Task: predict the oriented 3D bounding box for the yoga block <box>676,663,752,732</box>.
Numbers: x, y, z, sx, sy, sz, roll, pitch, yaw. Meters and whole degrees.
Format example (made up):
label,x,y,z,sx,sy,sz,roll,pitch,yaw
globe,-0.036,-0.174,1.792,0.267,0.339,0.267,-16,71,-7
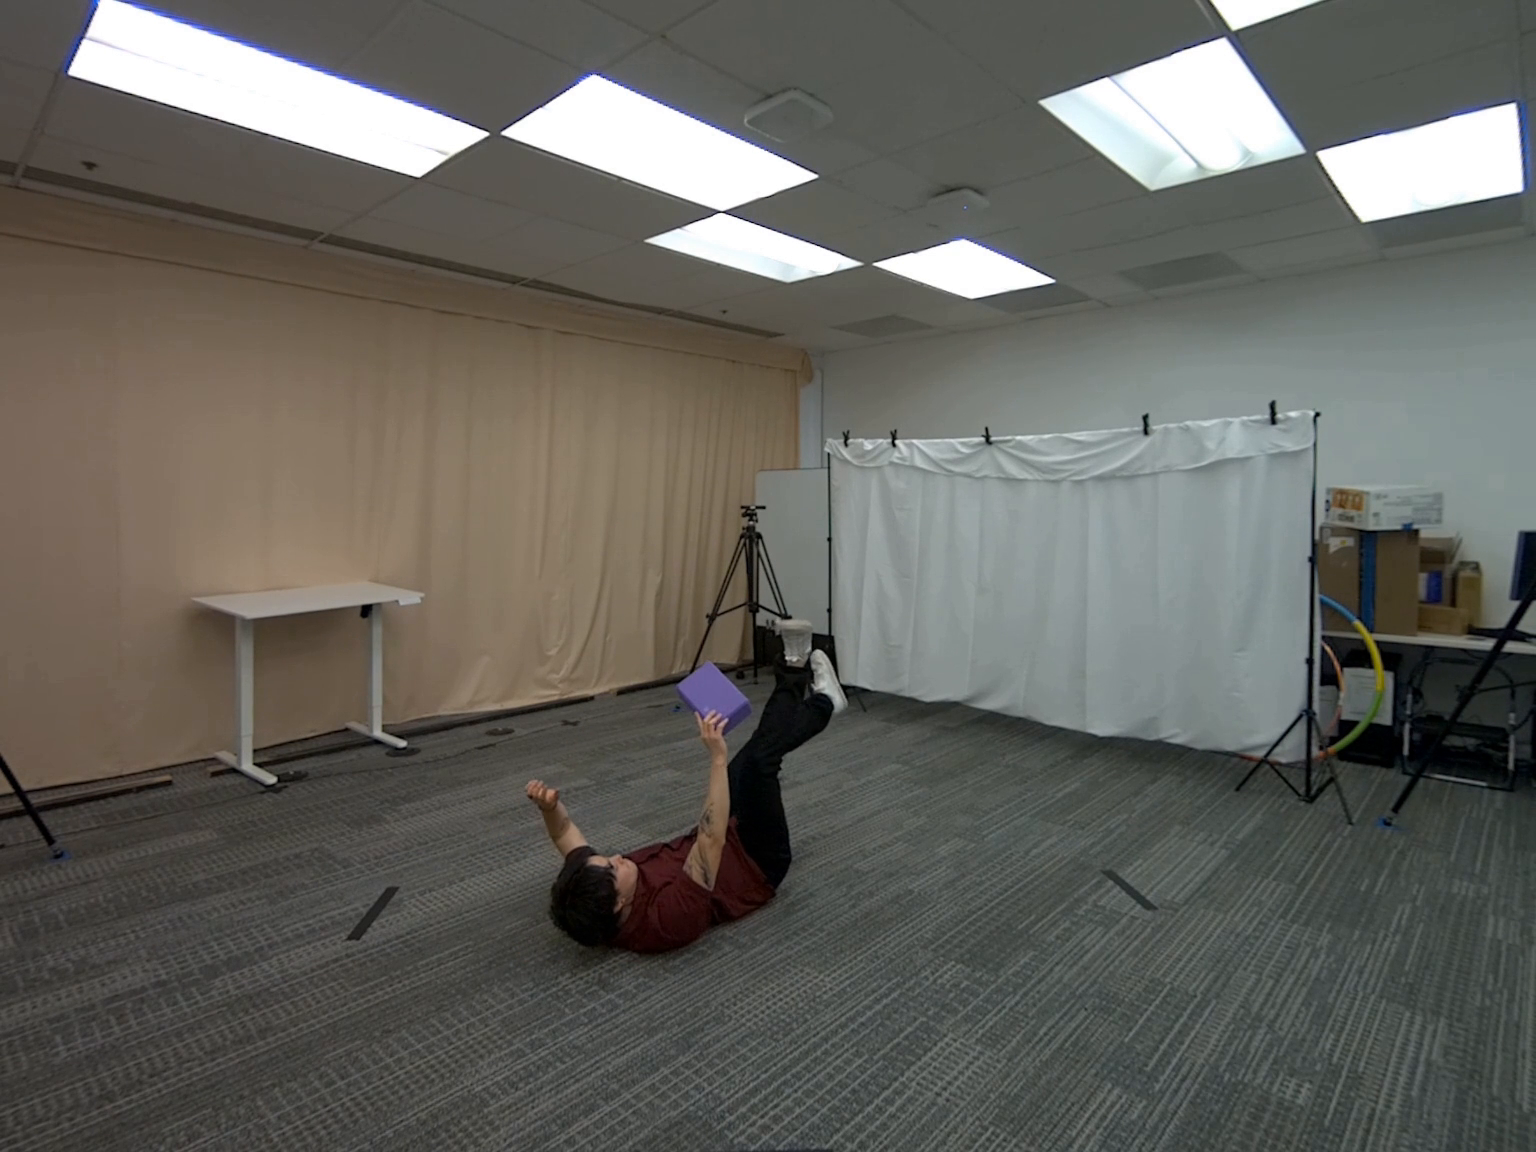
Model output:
label,x,y,z,sx,sy,sz,roll,pitch,yaw
yoga block,-0.172,0.402,2.741,0.148,0.074,0.238,-37,48,-16
